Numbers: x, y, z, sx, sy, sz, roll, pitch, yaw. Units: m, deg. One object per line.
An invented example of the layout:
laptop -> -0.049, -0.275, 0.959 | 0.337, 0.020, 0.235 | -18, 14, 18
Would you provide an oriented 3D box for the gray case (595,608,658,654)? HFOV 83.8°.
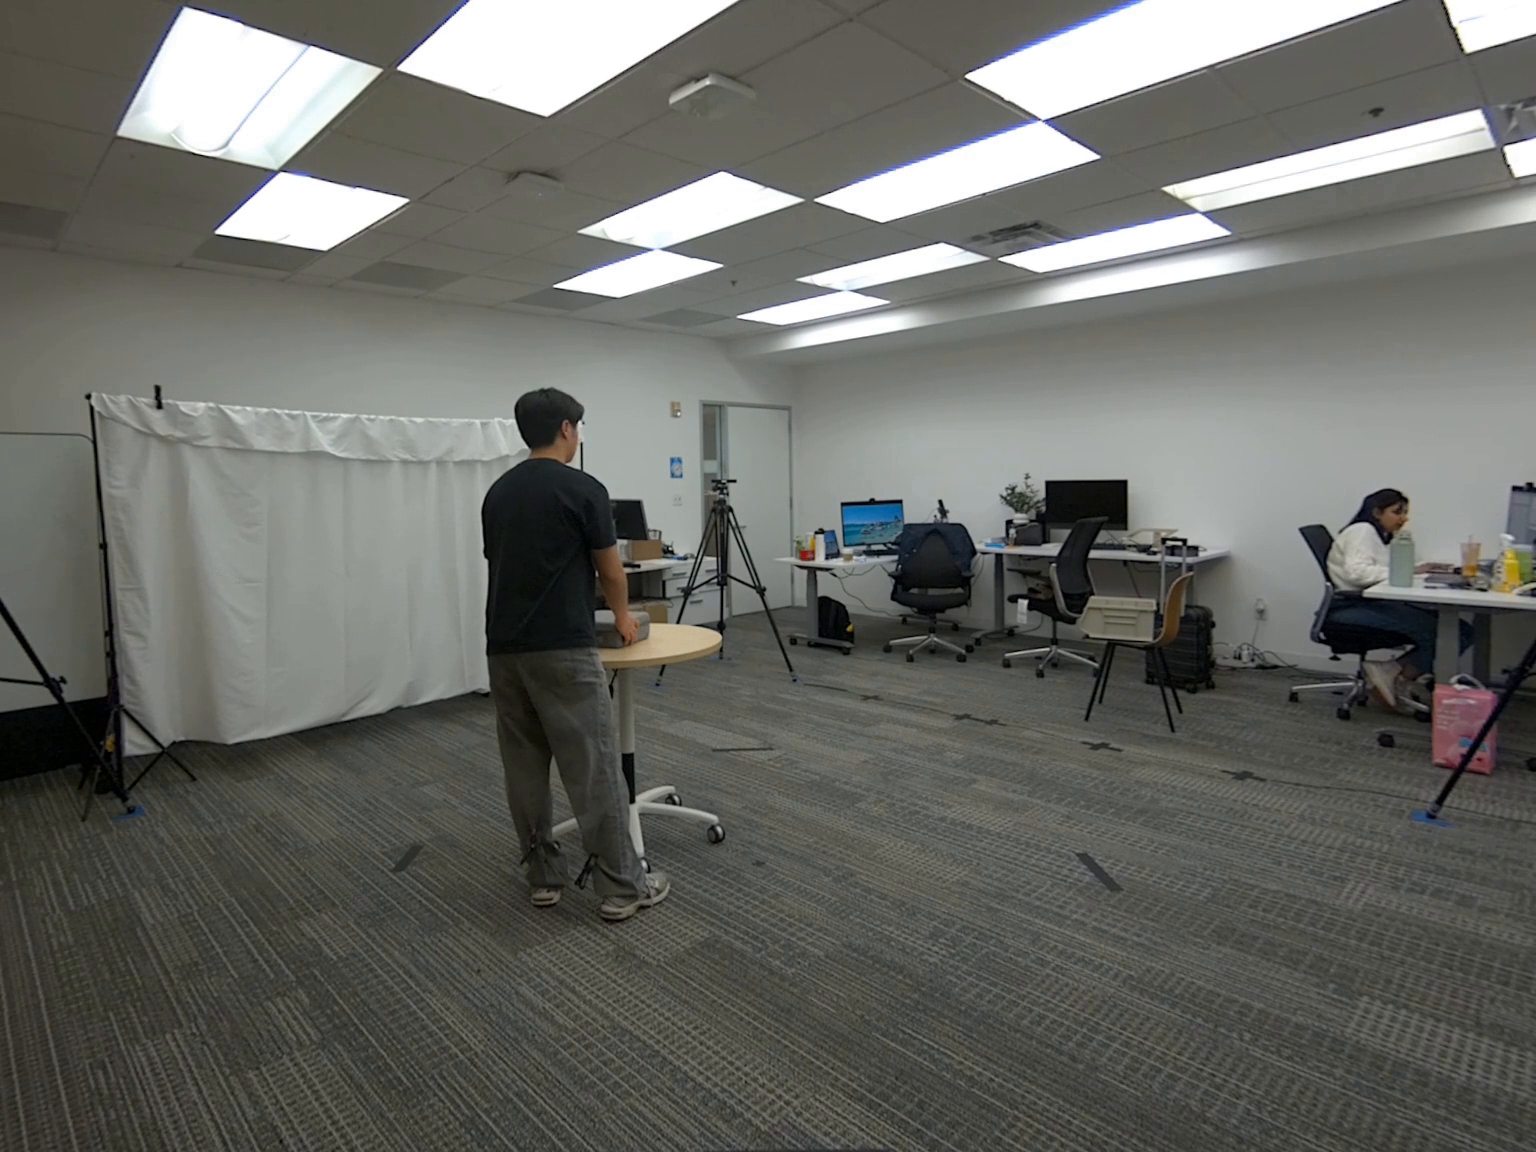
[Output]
gray case -> -0.615, 0.205, 3.298 | 0.269, 0.102, 0.282 | 1, 8, 25
